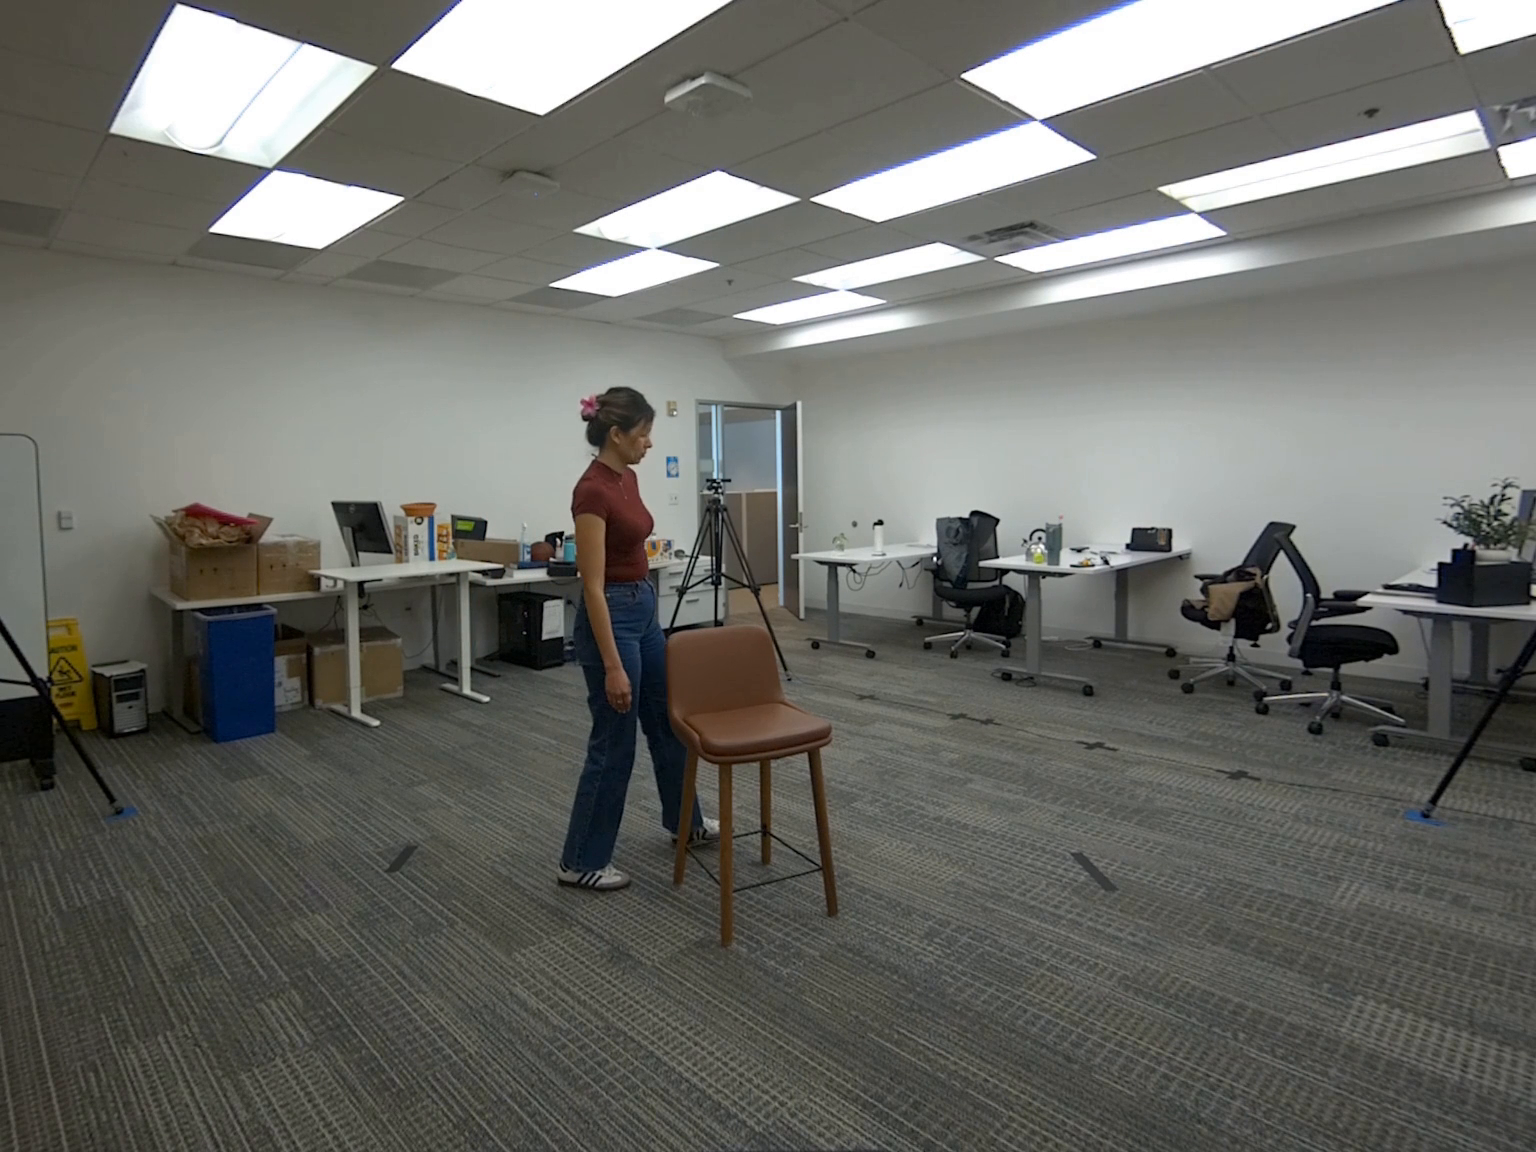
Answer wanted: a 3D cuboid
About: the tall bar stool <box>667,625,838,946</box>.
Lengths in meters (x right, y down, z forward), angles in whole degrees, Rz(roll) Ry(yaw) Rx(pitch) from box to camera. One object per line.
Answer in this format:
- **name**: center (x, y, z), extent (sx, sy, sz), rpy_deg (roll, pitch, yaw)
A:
- **tall bar stool**: center (-0.068, 0.639, 2.823), extent (0.446, 0.888, 0.479), rpy_deg (-3, 3, -27)
